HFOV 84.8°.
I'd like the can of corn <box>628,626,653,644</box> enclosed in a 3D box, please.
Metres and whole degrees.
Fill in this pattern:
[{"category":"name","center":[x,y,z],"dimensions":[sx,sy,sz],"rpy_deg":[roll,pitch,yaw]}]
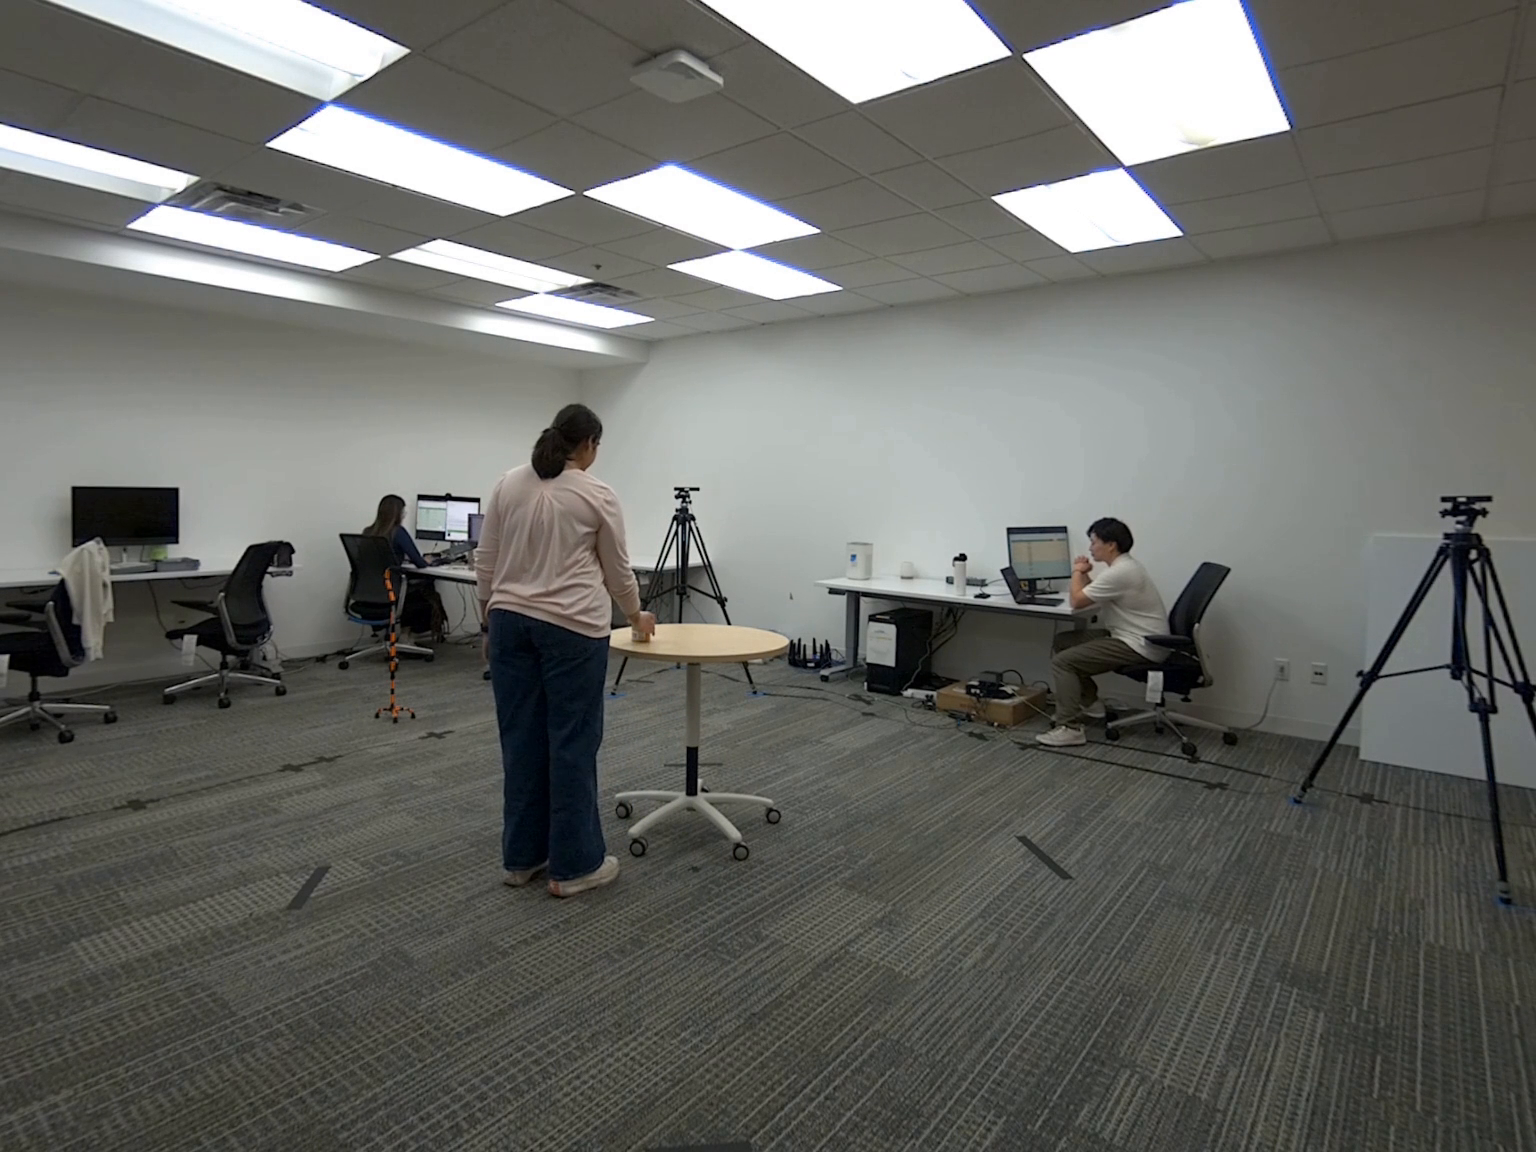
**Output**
[{"category":"can of corn","center":[-0.504,0.194,3.353],"dimensions":[0.074,0.111,0.074],"rpy_deg":[1,2,-2]}]
